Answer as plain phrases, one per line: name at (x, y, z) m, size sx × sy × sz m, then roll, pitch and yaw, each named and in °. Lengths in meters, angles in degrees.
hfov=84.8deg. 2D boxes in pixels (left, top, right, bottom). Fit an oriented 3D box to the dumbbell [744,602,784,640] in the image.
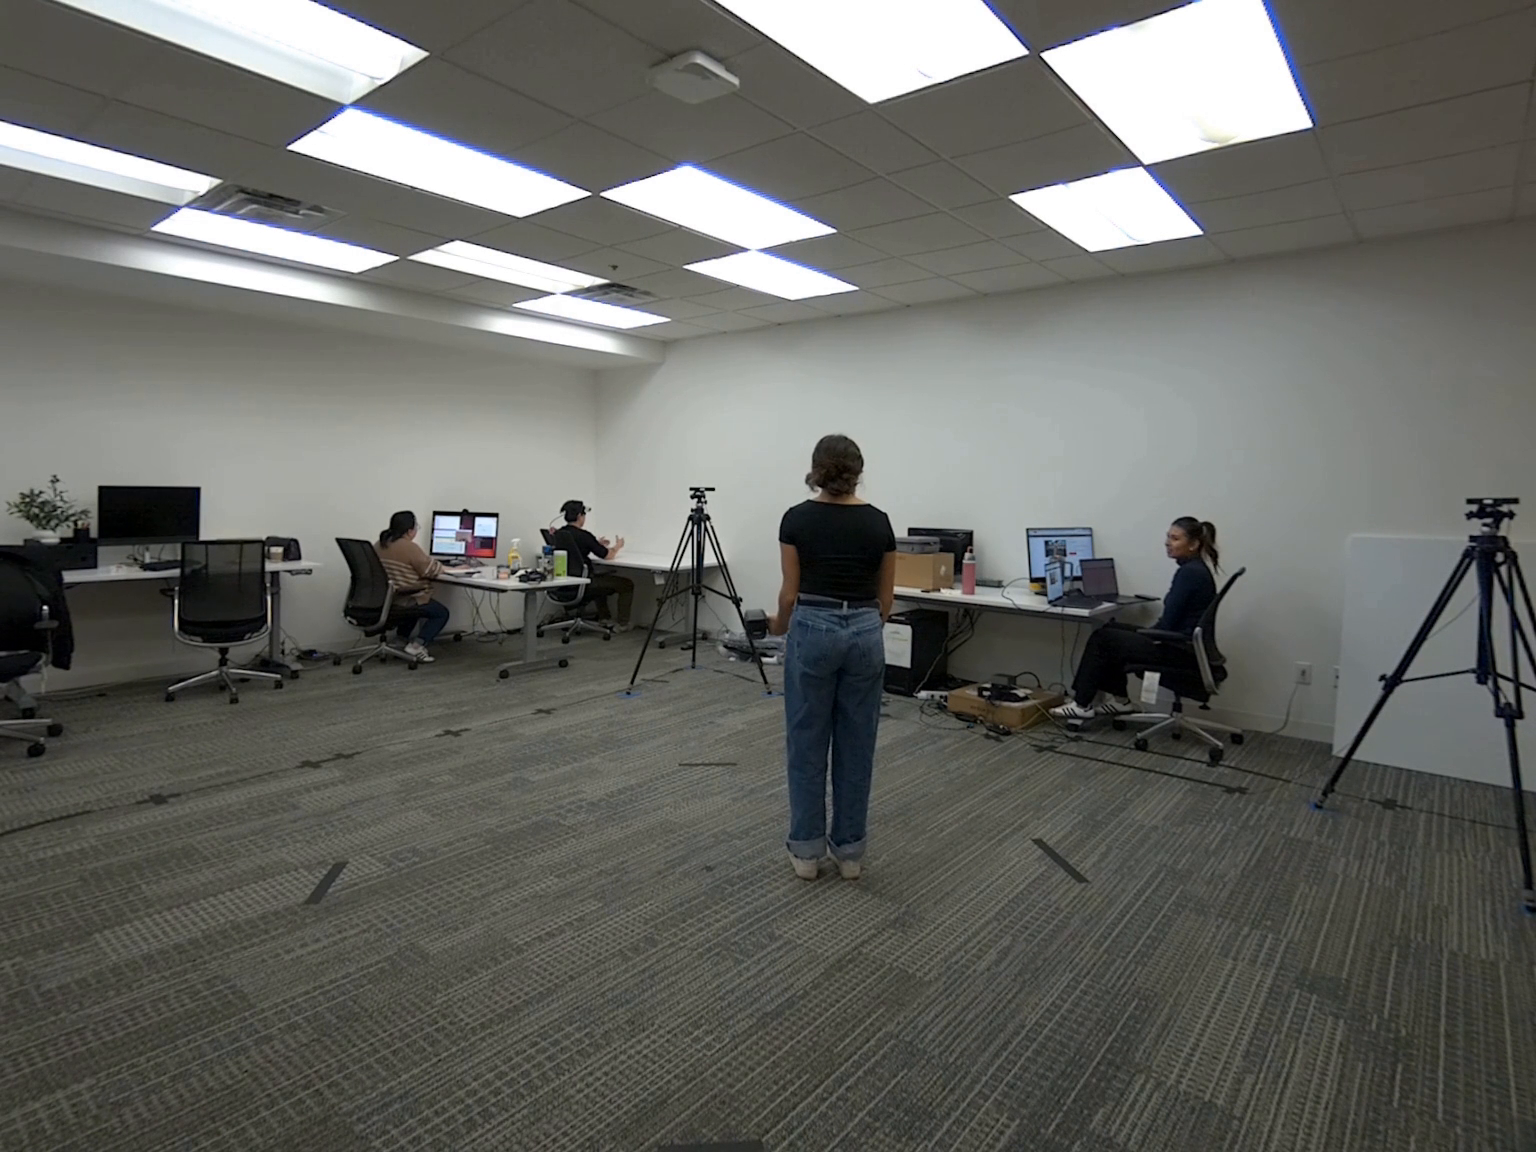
dumbbell at (0.055, 0.172, 3.351) m, size 0.293 × 0.111 × 0.120 m, roll -3°, pitch -22°, yaw -1°
